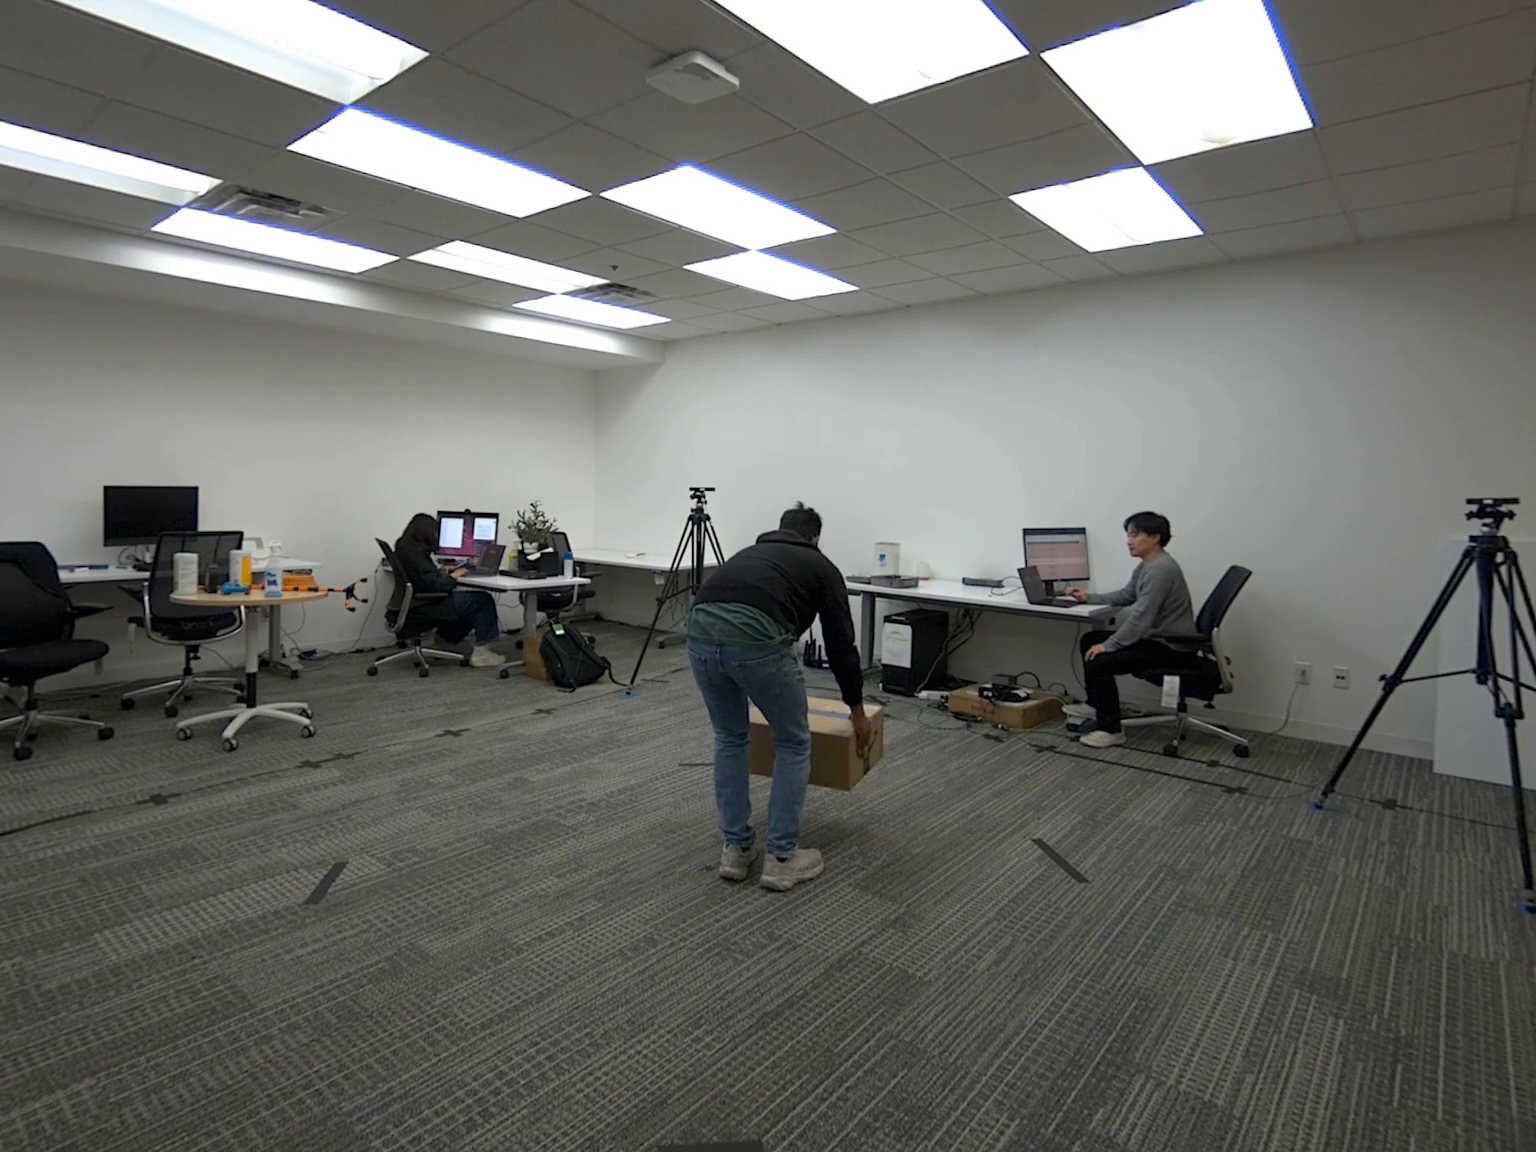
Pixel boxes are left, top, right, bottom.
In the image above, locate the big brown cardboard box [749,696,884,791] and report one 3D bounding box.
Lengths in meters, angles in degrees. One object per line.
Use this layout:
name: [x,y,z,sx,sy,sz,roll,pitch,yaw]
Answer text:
big brown cardboard box: [0.126,0.644,3.452,0.605,0.232,0.409,2,8,26]
